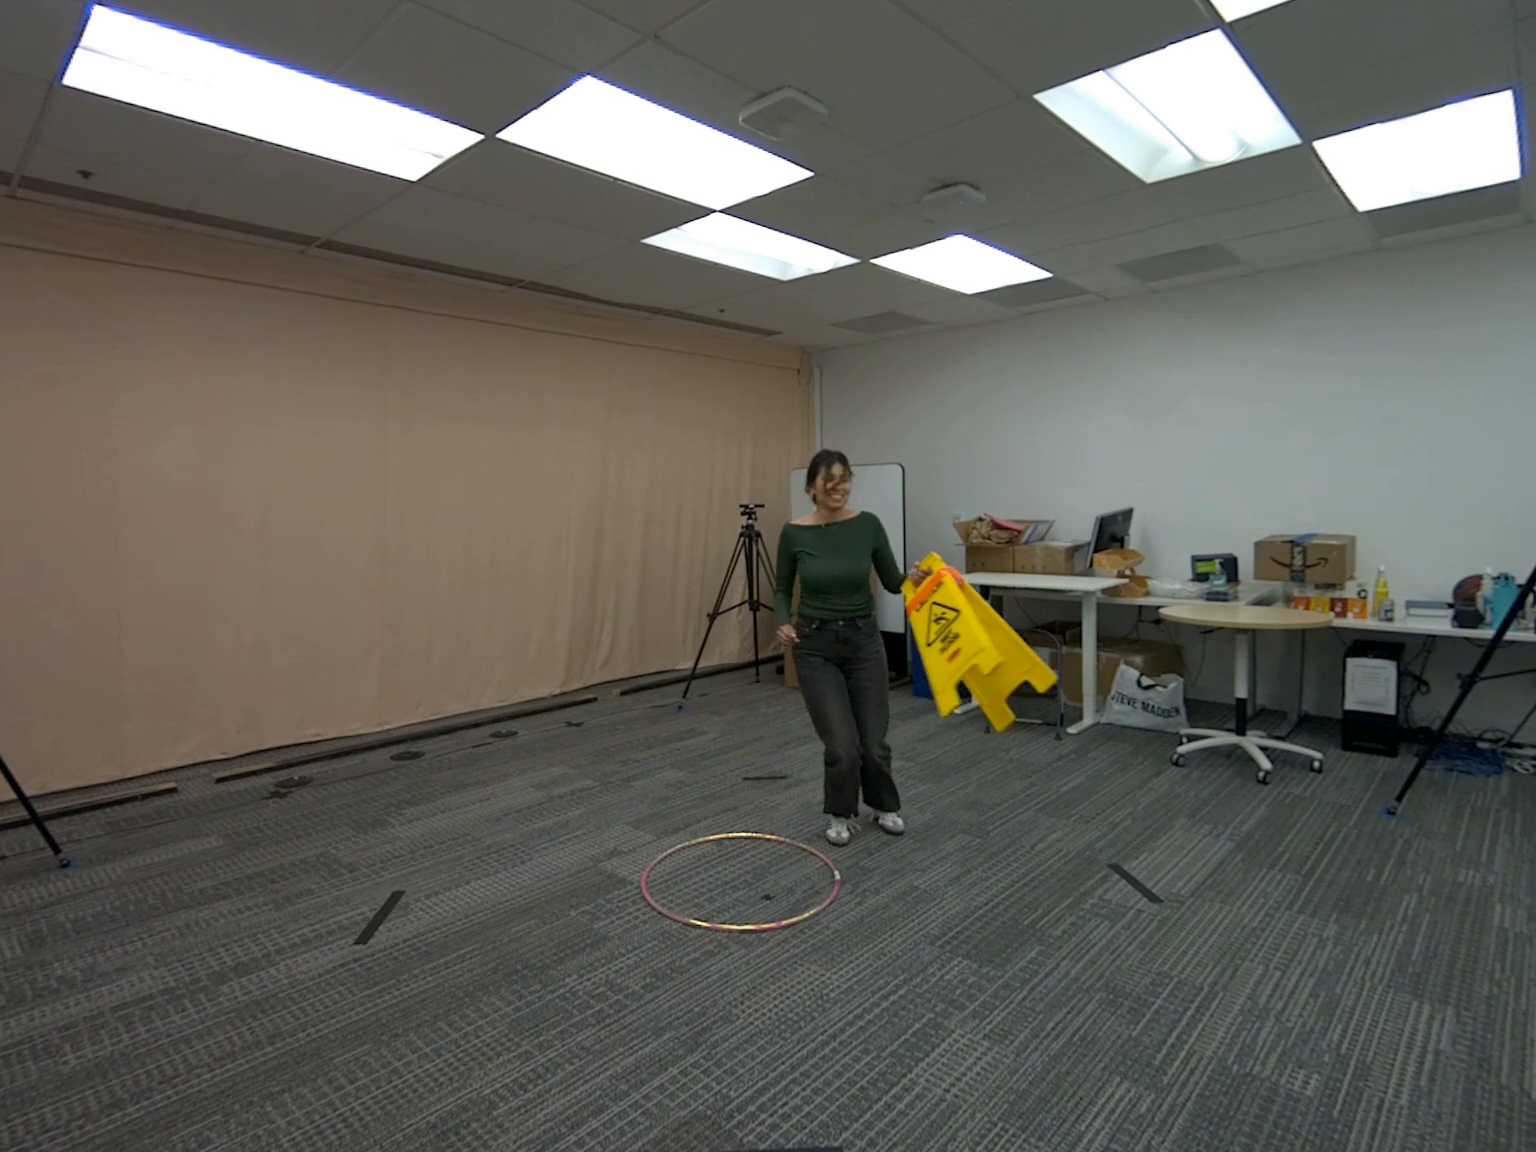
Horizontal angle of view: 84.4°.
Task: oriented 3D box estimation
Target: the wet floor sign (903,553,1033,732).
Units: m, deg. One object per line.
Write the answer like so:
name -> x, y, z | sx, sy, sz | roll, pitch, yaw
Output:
wet floor sign -> 0.569, 0.174, 2.979 | 0.282, 0.283, 0.662 | 24, 28, -26
